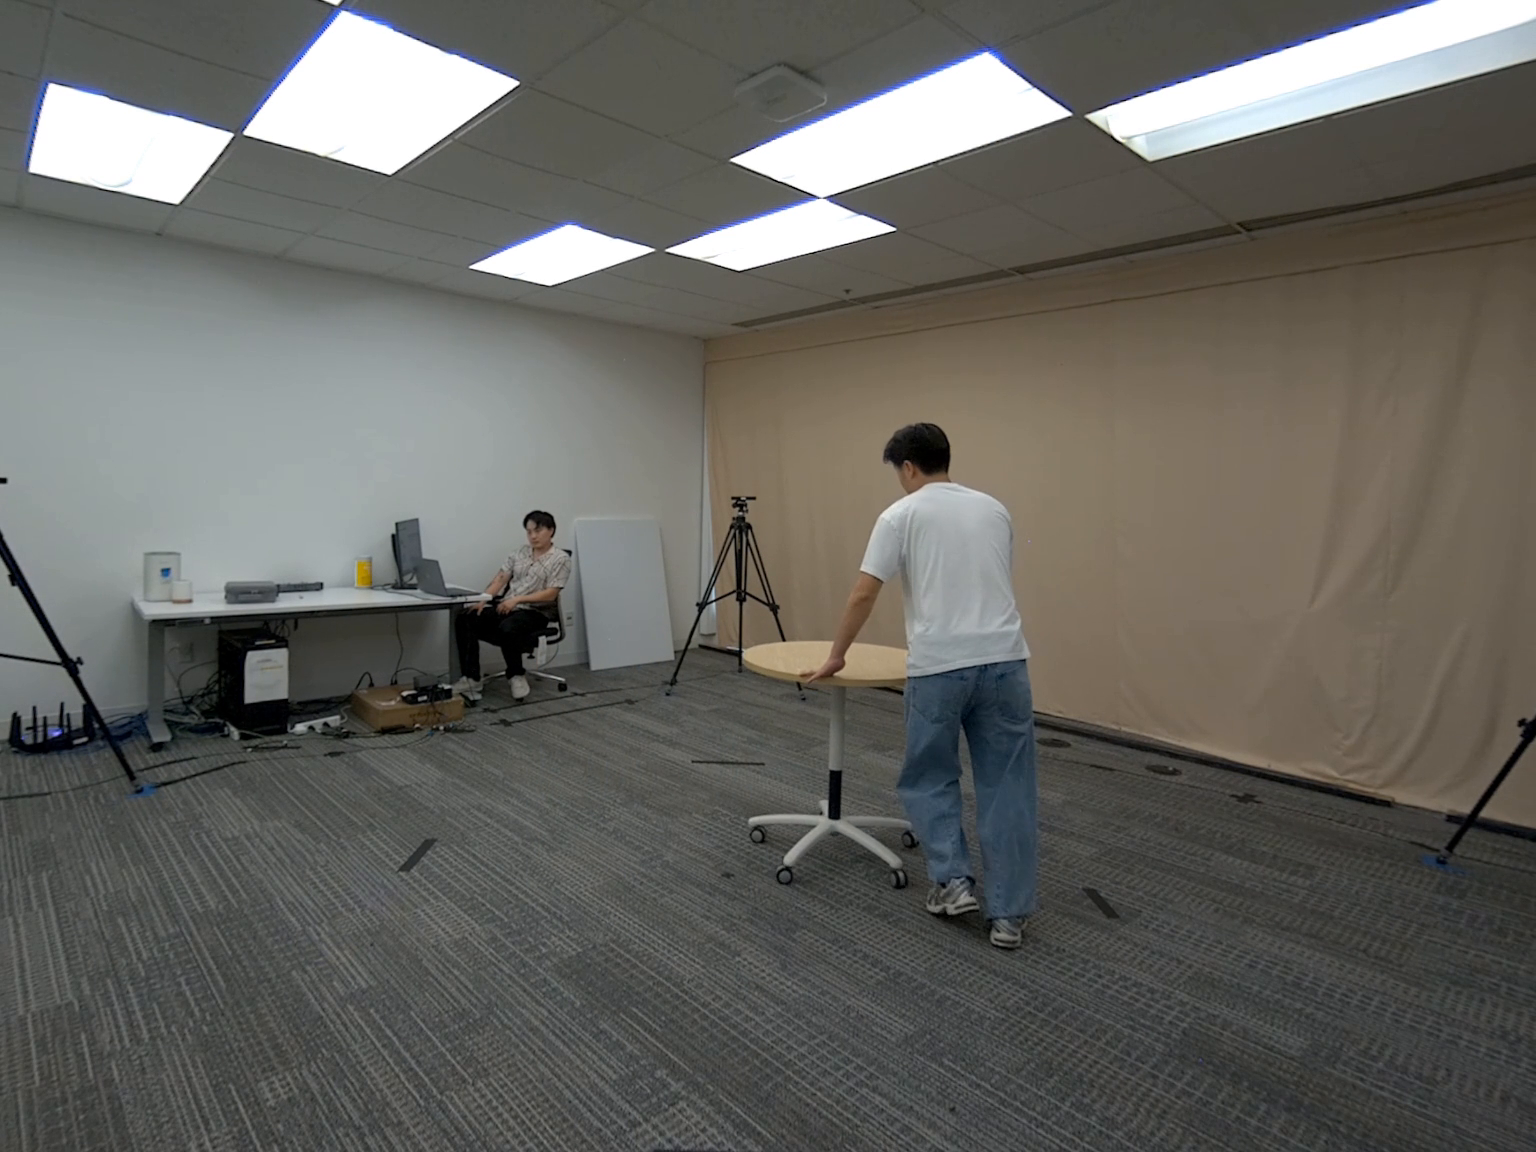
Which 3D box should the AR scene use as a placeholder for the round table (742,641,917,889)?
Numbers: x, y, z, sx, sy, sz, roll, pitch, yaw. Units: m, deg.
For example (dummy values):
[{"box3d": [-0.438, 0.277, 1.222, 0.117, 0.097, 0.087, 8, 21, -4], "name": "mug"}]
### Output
[{"box3d": [0.260, 0.712, 3.308, 0.763, 0.792, 0.767, 2, 4, -1], "name": "round table"}]
